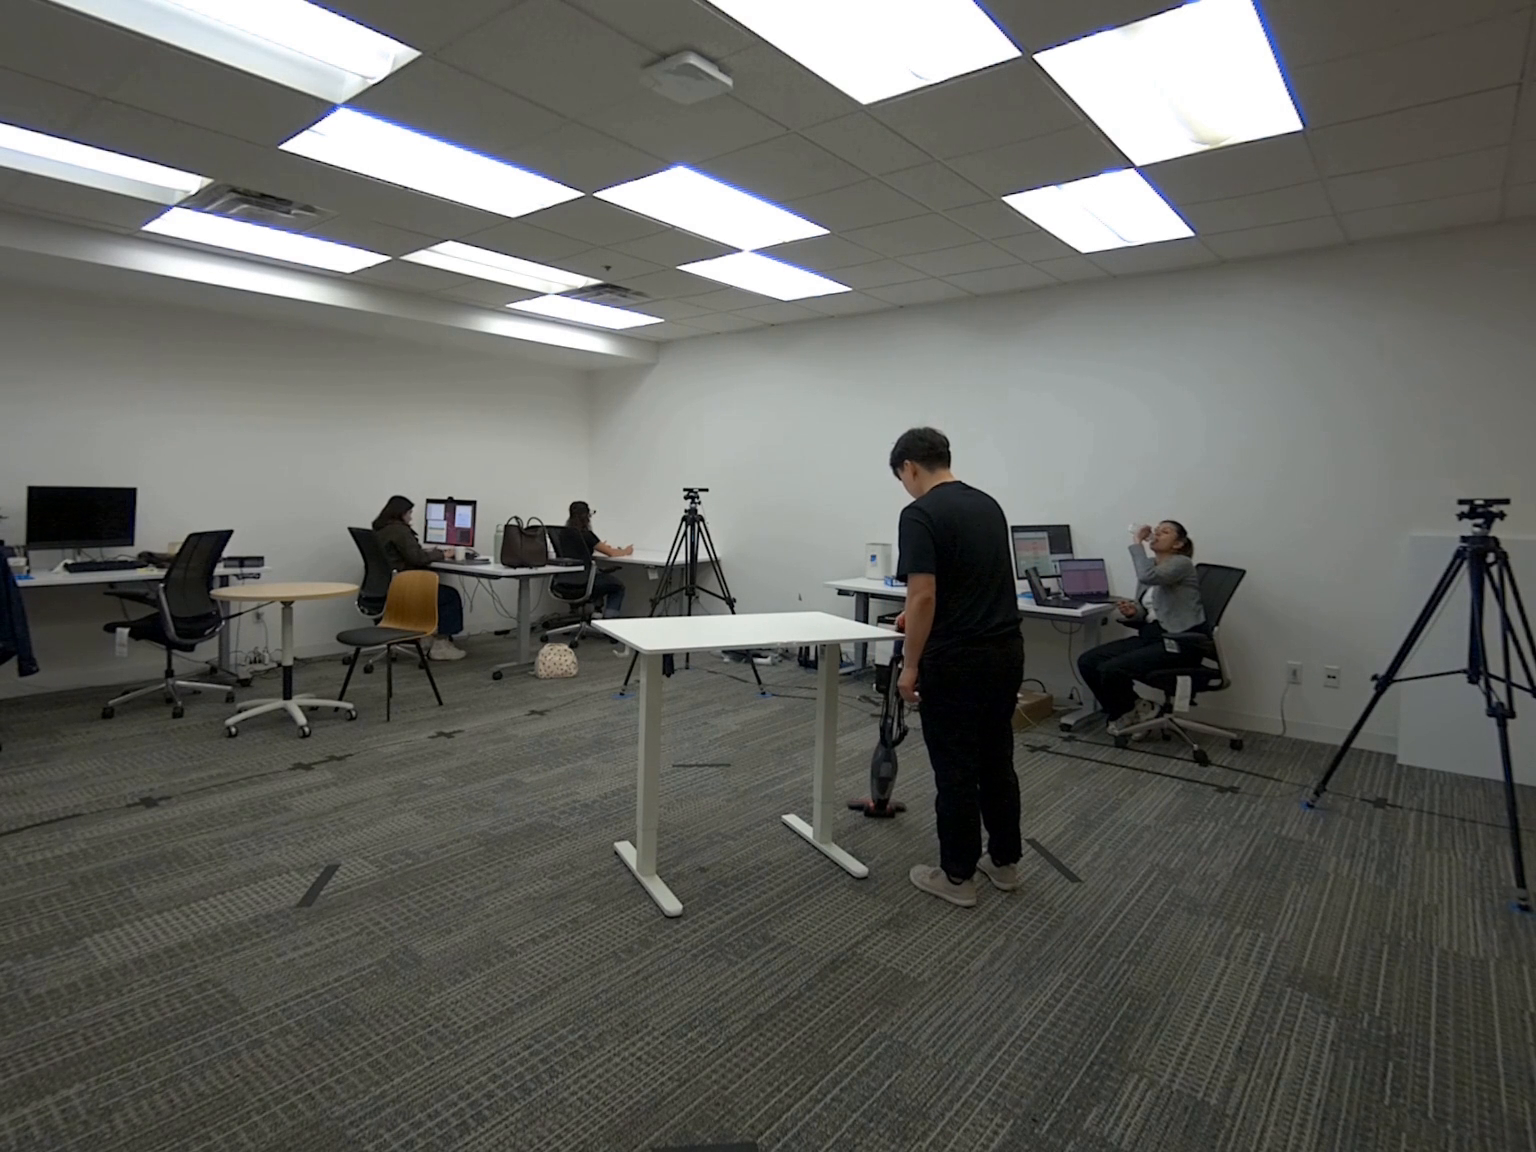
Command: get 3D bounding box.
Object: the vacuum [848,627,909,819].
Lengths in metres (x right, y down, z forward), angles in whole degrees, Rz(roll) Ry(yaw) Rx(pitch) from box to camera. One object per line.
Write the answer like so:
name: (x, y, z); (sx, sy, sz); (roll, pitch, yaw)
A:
vacuum: (0.483, 0.599, 3.445); (0.252, 1.021, 0.148); (-2, 34, -3)
